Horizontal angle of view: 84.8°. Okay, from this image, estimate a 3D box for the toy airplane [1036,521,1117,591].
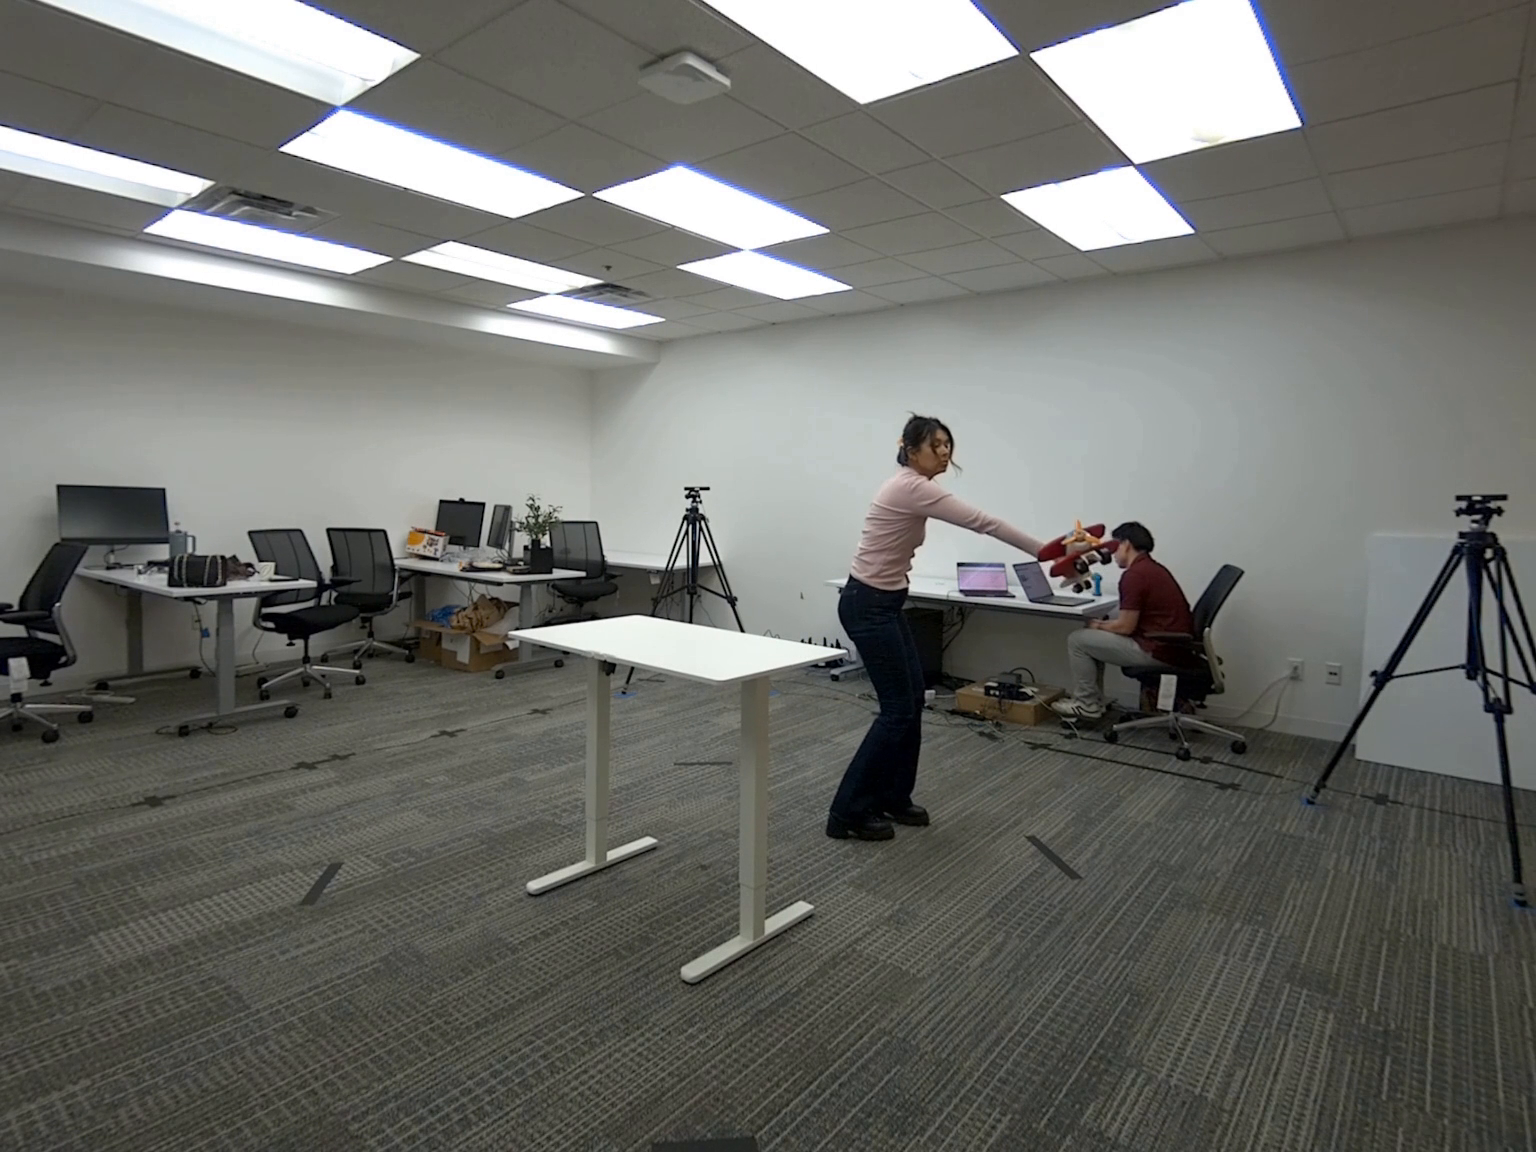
[{"bbox_3d":[1.038,-0.050,2.914,0.245,0.162,0.256,-7,-32,-27],"label":"toy airplane"}]
